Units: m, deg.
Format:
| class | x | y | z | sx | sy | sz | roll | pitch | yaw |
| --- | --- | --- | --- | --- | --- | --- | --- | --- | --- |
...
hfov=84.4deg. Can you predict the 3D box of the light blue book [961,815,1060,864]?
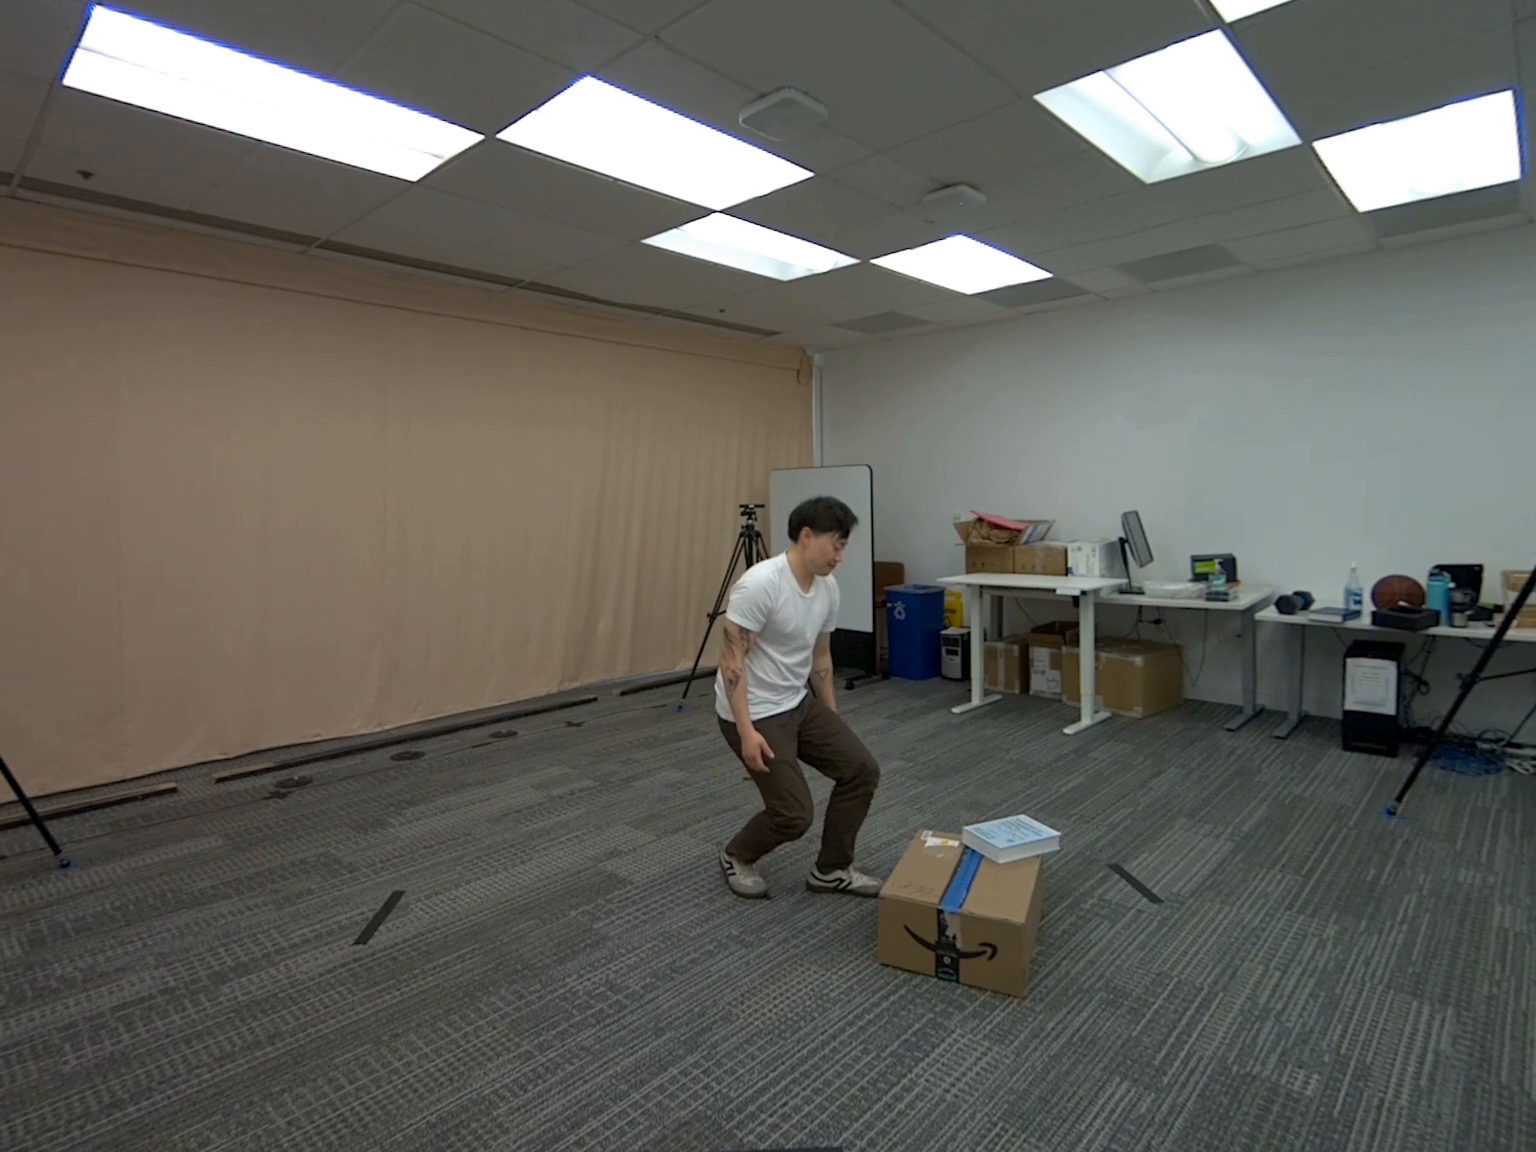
| class | x | y | z | sx | sy | sz | roll | pitch | yaw |
| --- | --- | --- | --- | --- | --- | --- | --- | --- | --- |
| light blue book | 0.833 | 0.893 | 2.848 | 0.255 | 0.059 | 0.196 | -3 | 7 | -23 |
